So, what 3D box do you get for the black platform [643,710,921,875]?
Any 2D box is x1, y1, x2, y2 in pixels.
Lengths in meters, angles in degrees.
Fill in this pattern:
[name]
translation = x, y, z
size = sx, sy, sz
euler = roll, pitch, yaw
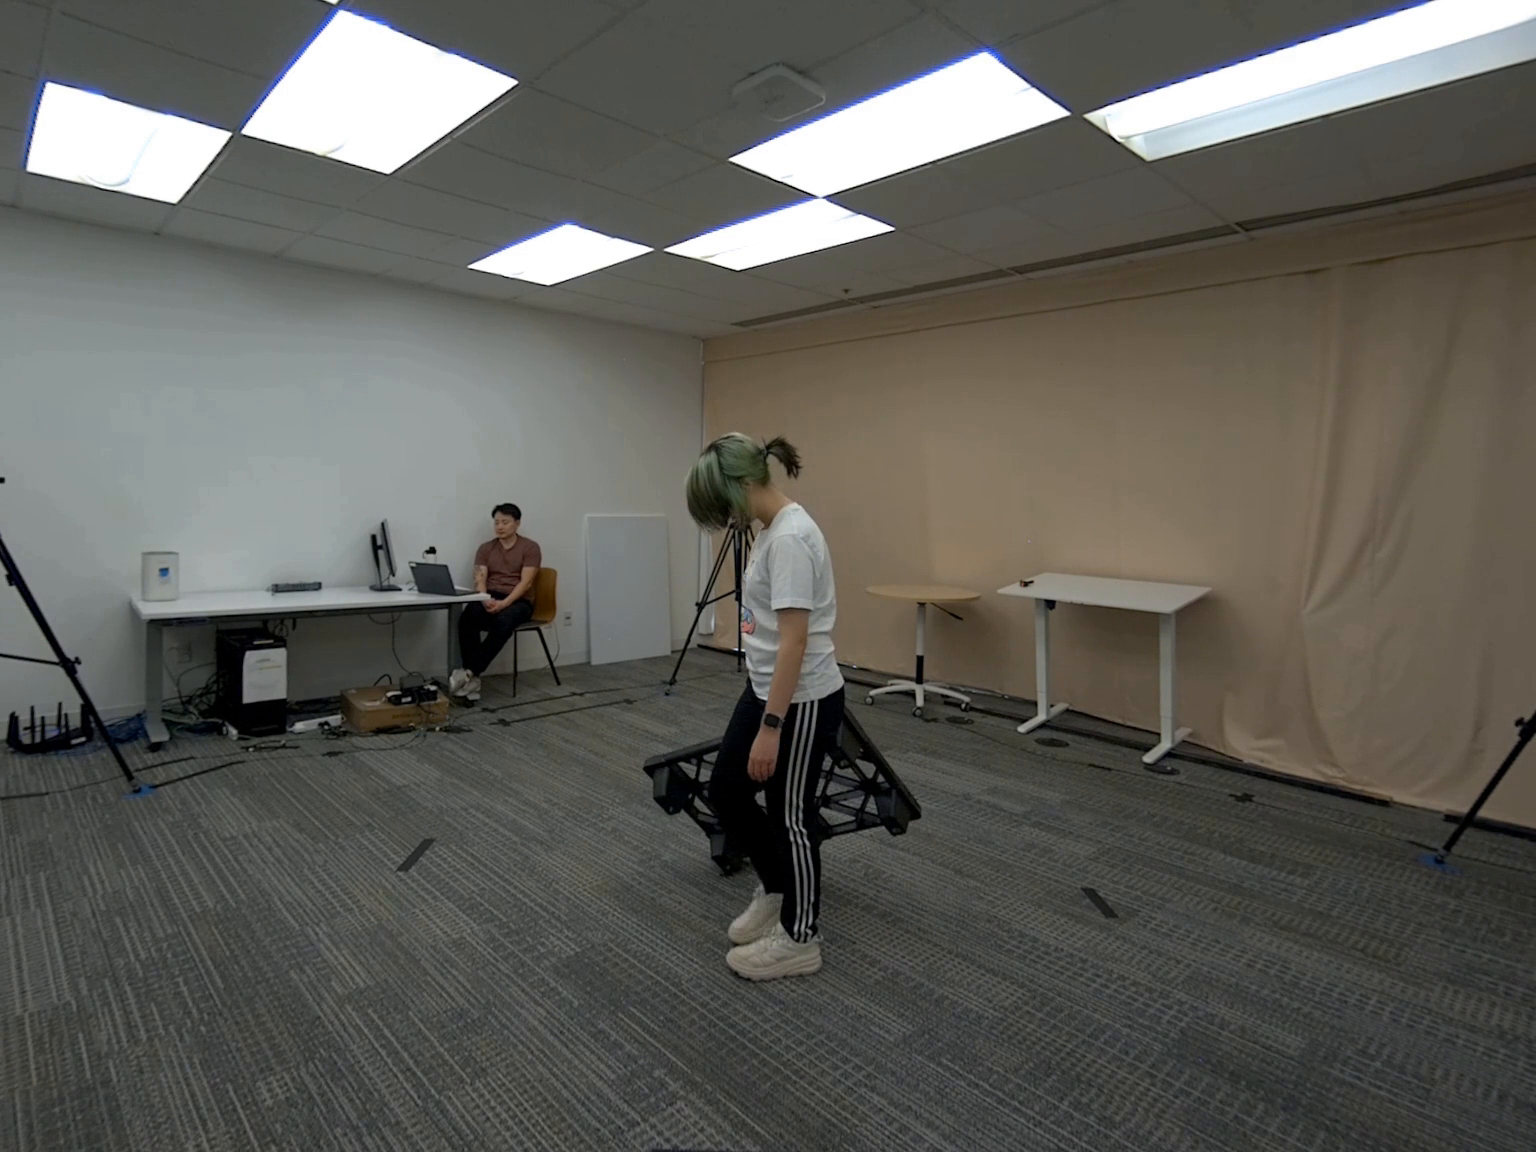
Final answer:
[black platform]
translation = 0.030, 0.776, 2.919
size = 0.814, 0.590, 0.145
euler = -22, 29, 25
